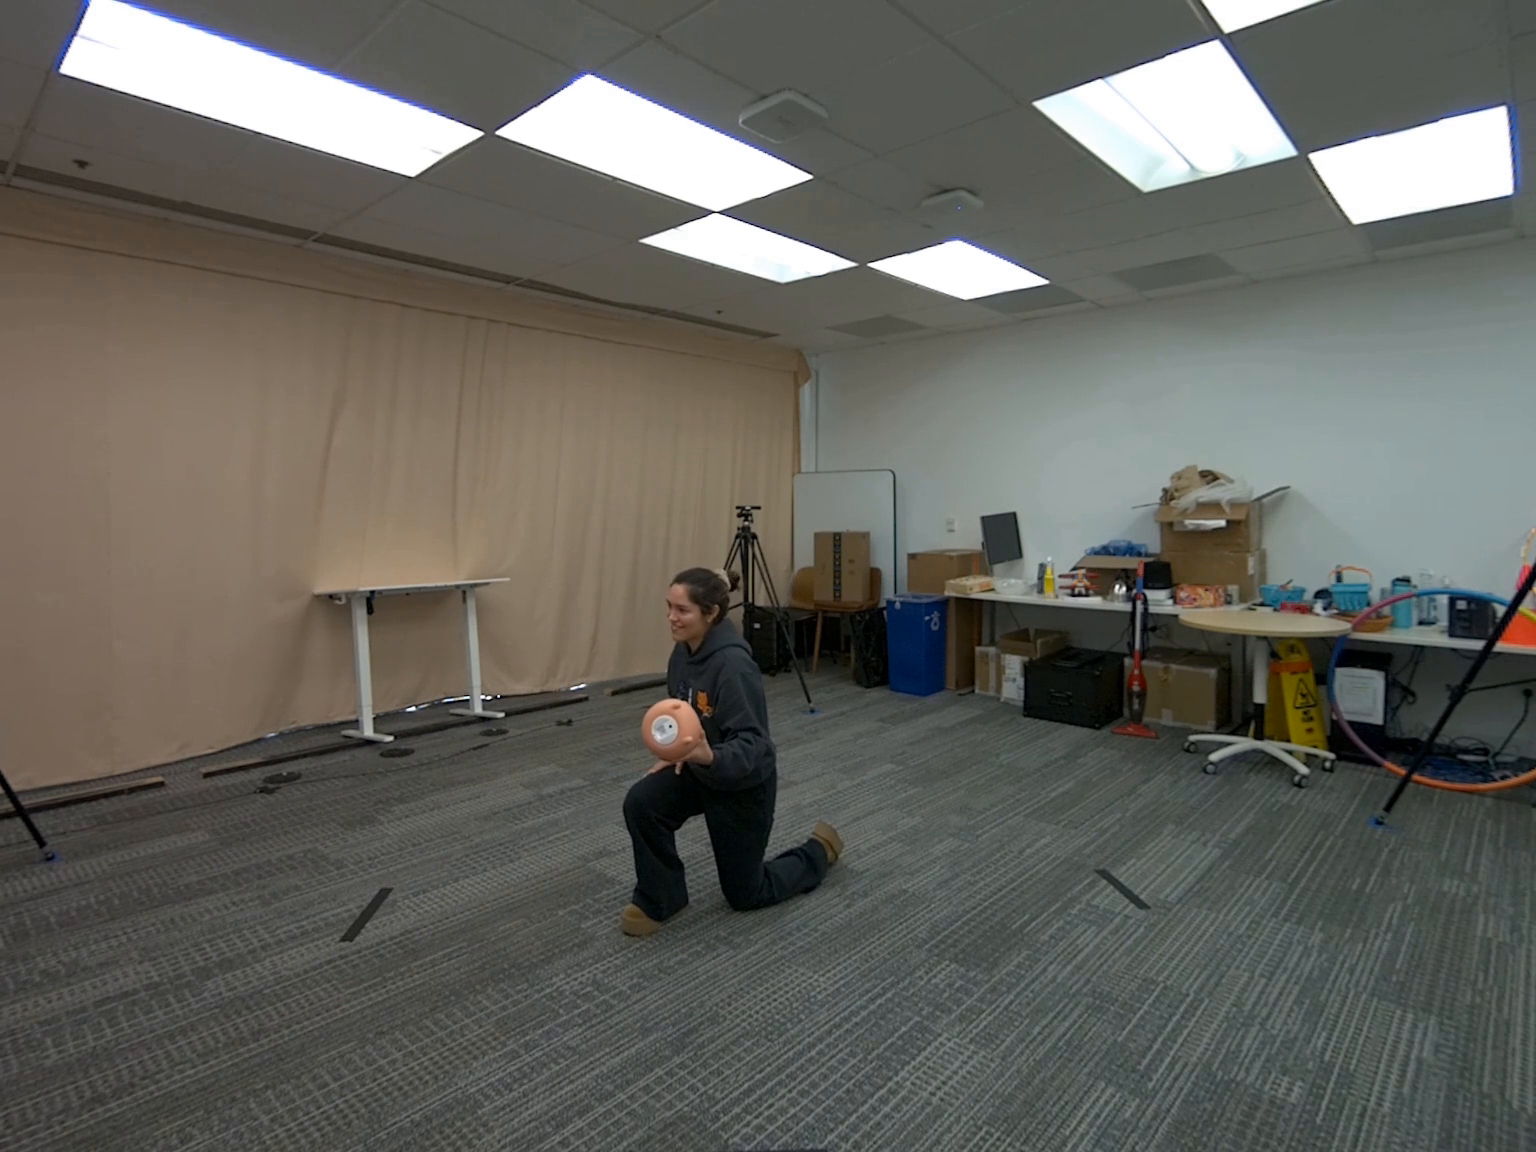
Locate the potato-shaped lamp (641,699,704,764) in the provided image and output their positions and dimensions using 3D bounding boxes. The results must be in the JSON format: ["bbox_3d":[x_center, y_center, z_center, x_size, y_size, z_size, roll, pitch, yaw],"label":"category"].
[{"bbox_3d":[-0.255,0.437,2.417,0.173,0.167,0.193,-28,-15,15],"label":"potato-shaped lamp"}]
